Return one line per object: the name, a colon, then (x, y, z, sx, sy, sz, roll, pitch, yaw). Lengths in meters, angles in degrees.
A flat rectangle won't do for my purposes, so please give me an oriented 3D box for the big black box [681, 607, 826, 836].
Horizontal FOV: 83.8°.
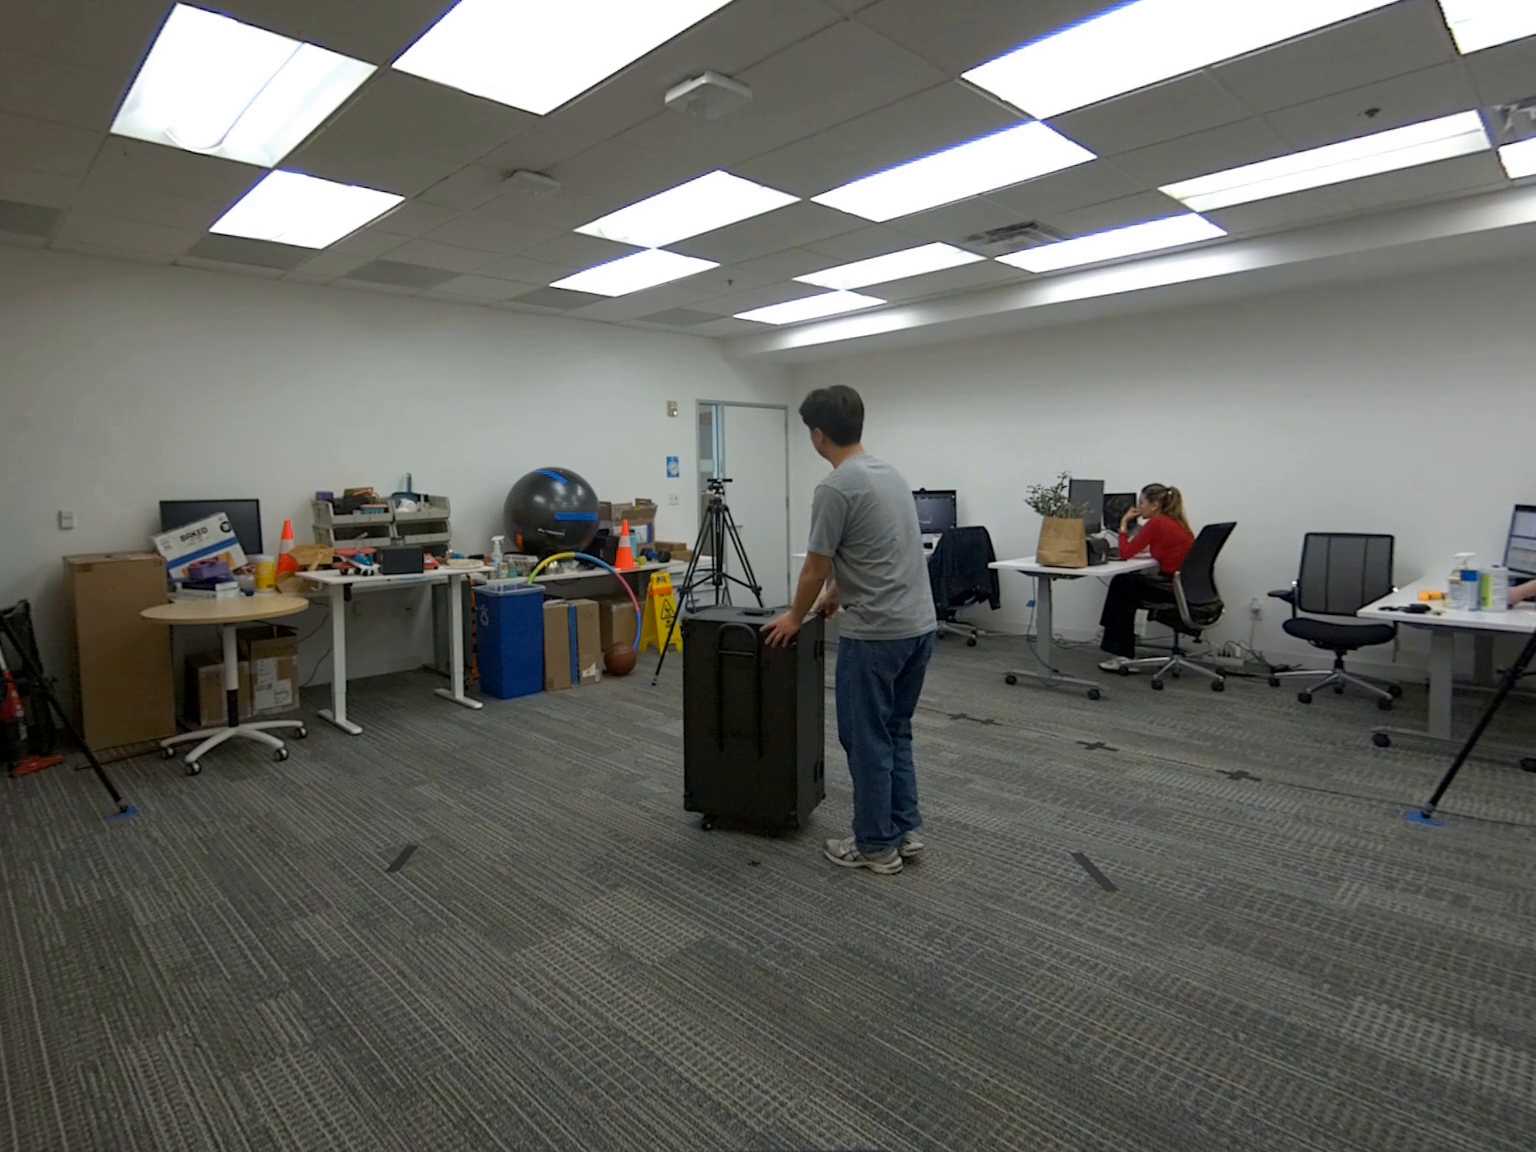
big black box: (-0.051, 0.585, 3.457, 0.533, 0.857, 0.390, 2, 6, 23)
